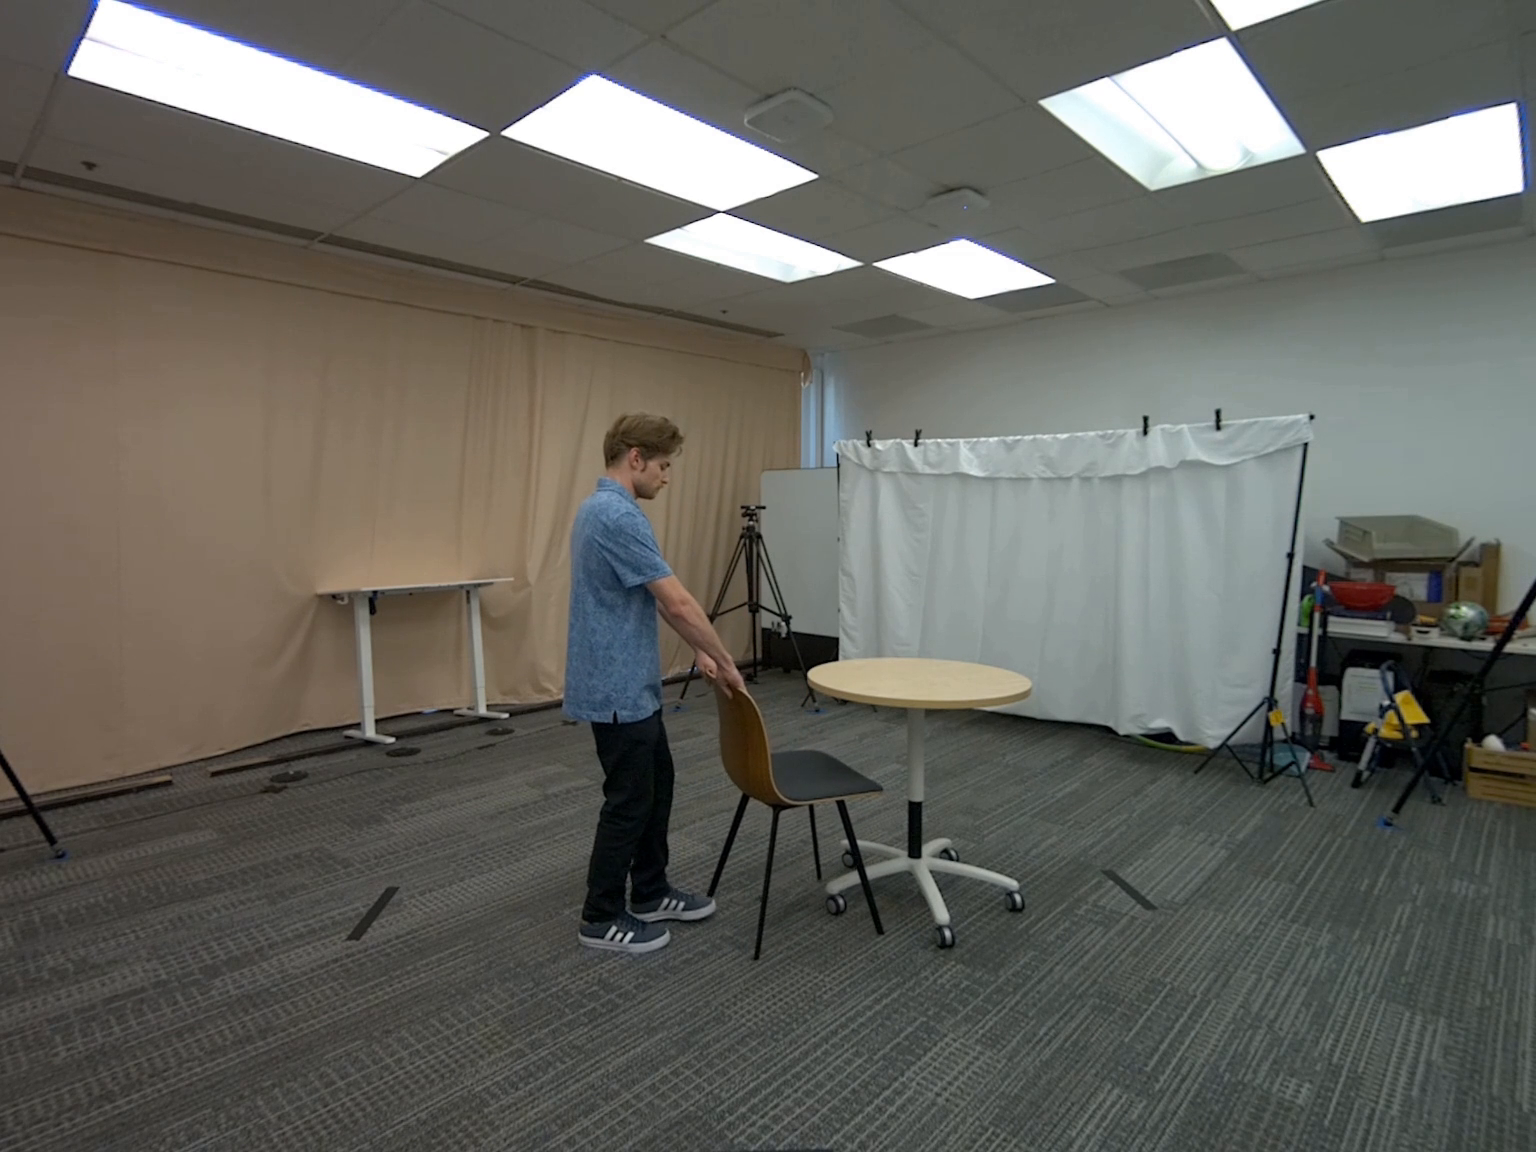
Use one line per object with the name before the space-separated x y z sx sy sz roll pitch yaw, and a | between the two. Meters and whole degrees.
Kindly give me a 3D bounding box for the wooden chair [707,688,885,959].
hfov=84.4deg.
wooden chair | 0.090 0.729 2.833 0.513 0.875 0.489 -6 5 -21
